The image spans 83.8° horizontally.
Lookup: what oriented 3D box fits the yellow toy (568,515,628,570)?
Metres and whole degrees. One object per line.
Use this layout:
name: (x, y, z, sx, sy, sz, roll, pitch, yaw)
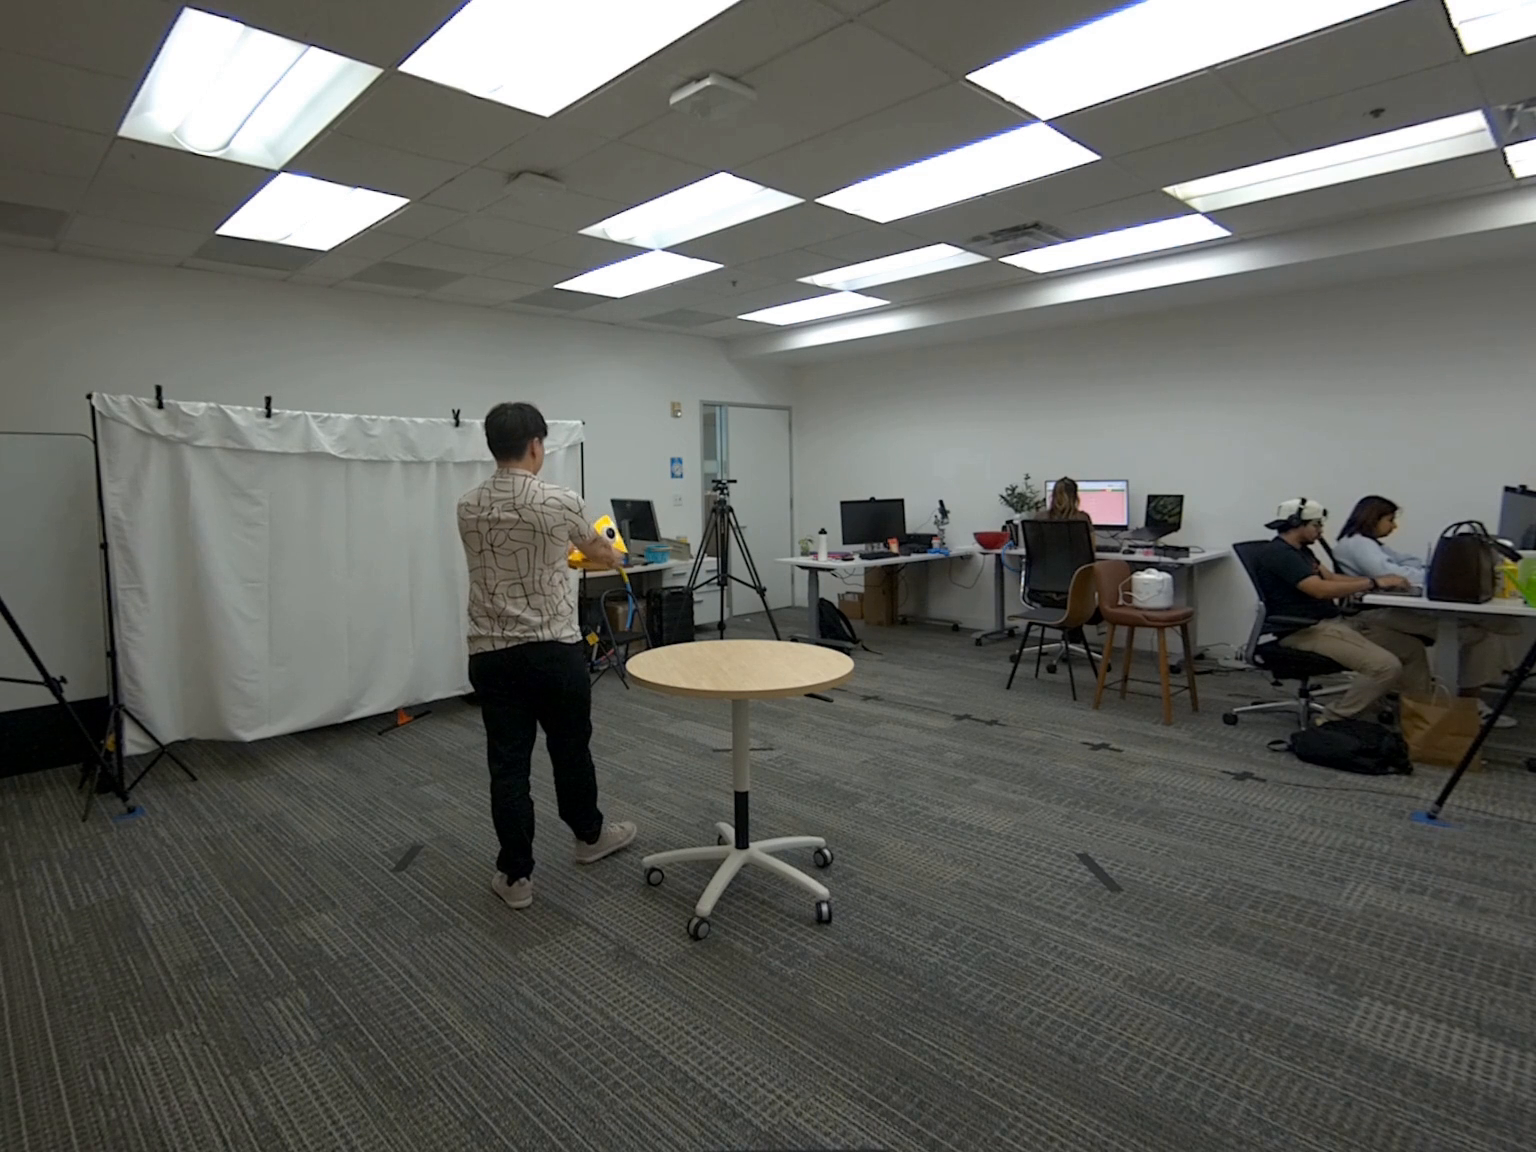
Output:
yellow toy: (-0.693, -0.158, 3.467, 0.208, 0.233, 0.187, 1, -16, 17)
